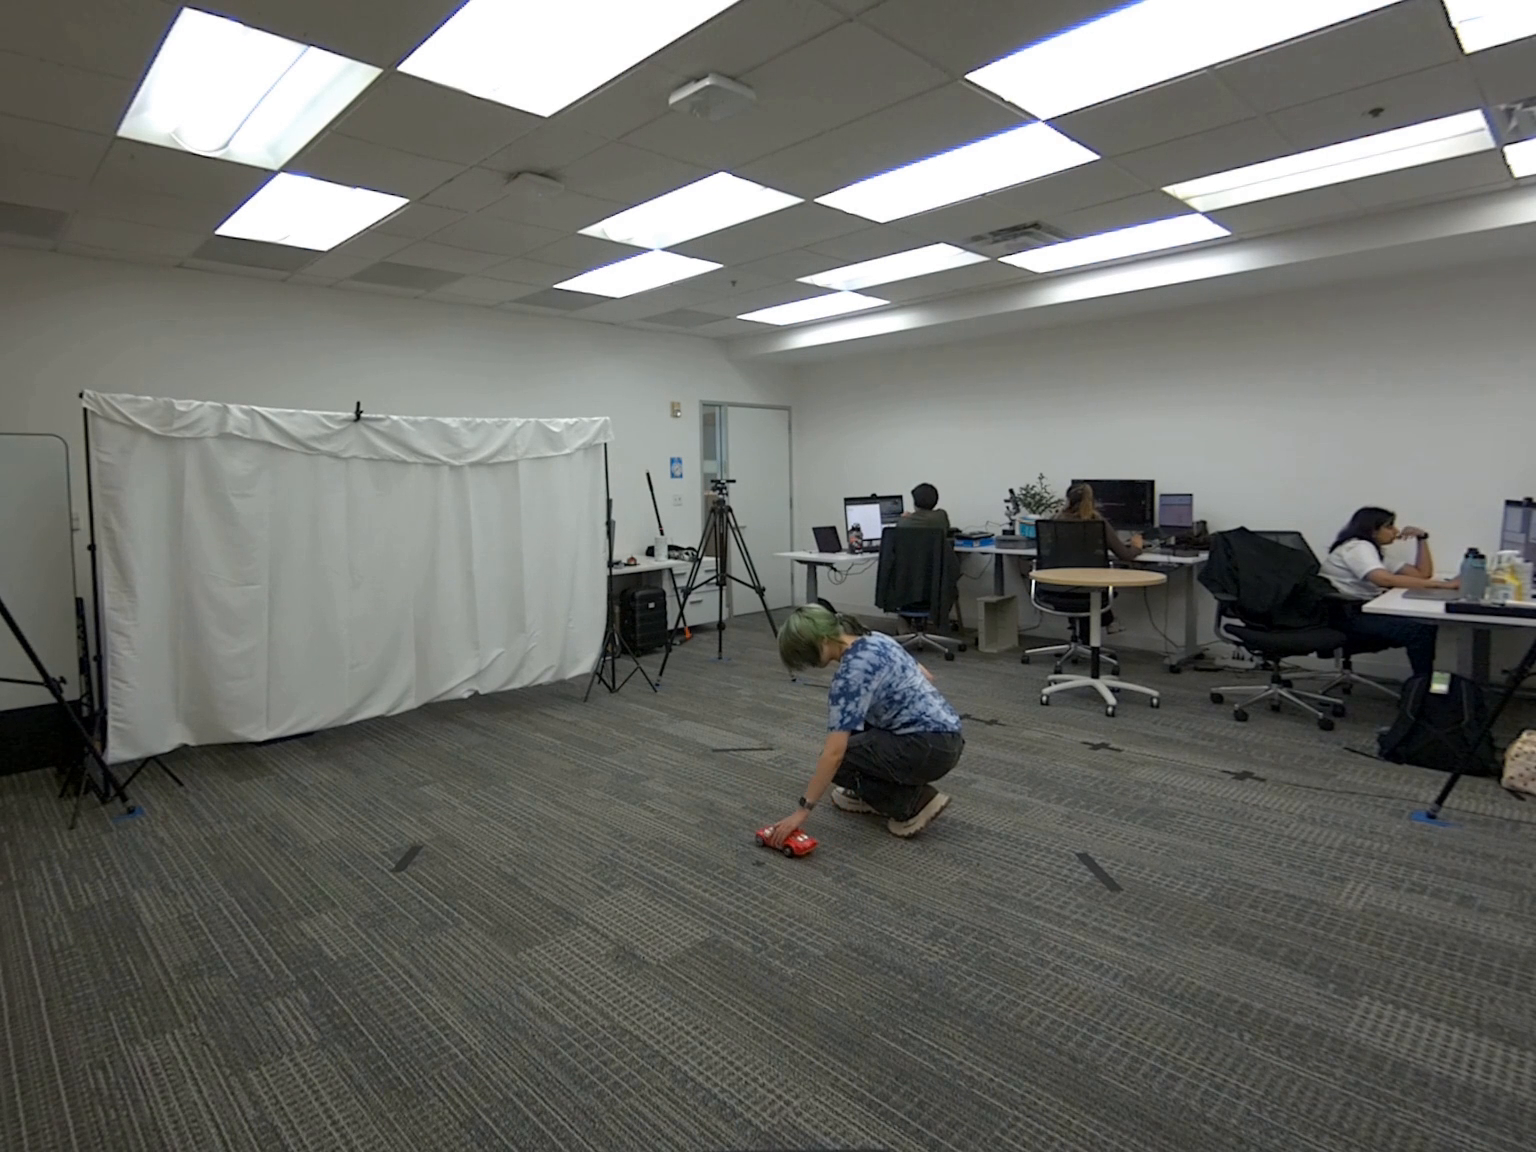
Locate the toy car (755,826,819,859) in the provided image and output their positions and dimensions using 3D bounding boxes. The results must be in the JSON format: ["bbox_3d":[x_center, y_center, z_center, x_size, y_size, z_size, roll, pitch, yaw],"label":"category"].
[{"bbox_3d":[0.077,1.001,3.228,0.127,0.083,0.260,-6,-2,-44],"label":"toy car"}]
